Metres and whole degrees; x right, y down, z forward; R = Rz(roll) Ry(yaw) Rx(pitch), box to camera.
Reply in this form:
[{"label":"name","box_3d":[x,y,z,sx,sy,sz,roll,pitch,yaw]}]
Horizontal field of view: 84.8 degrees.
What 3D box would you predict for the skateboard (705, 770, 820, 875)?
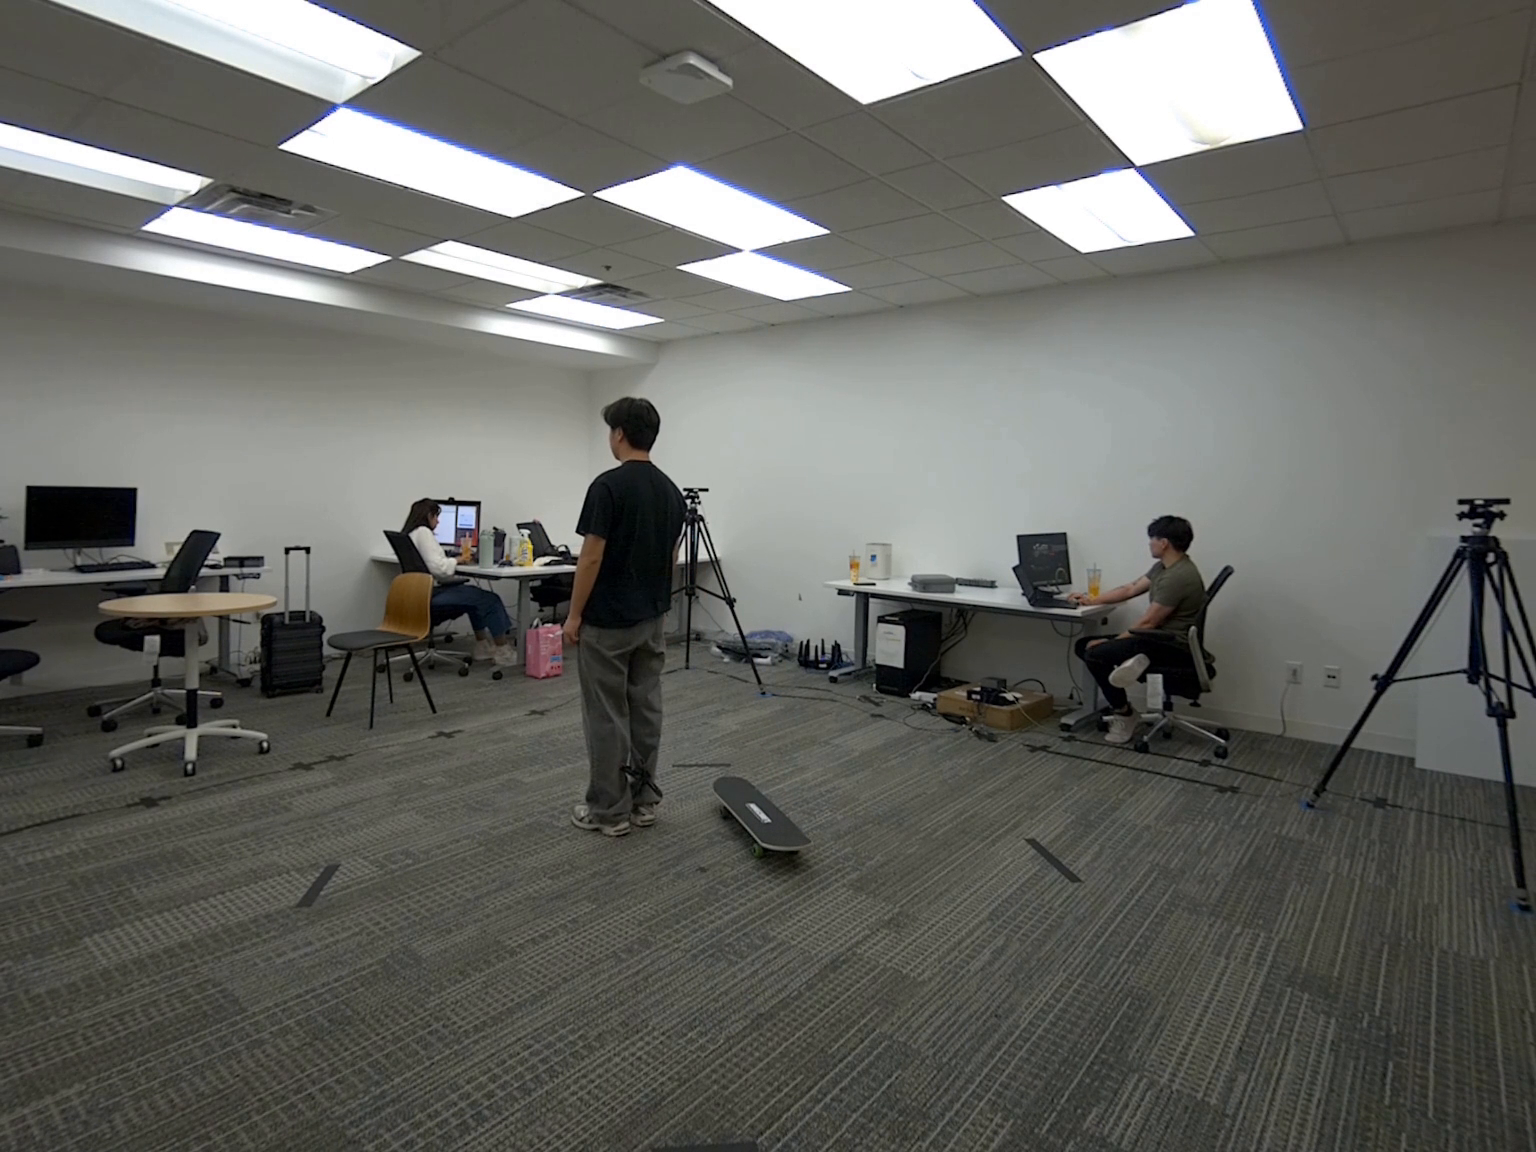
[{"label":"skateboard","box_3d":[-0.047,0.979,3.429,0.189,0.110,0.804,0,5,-21]}]
